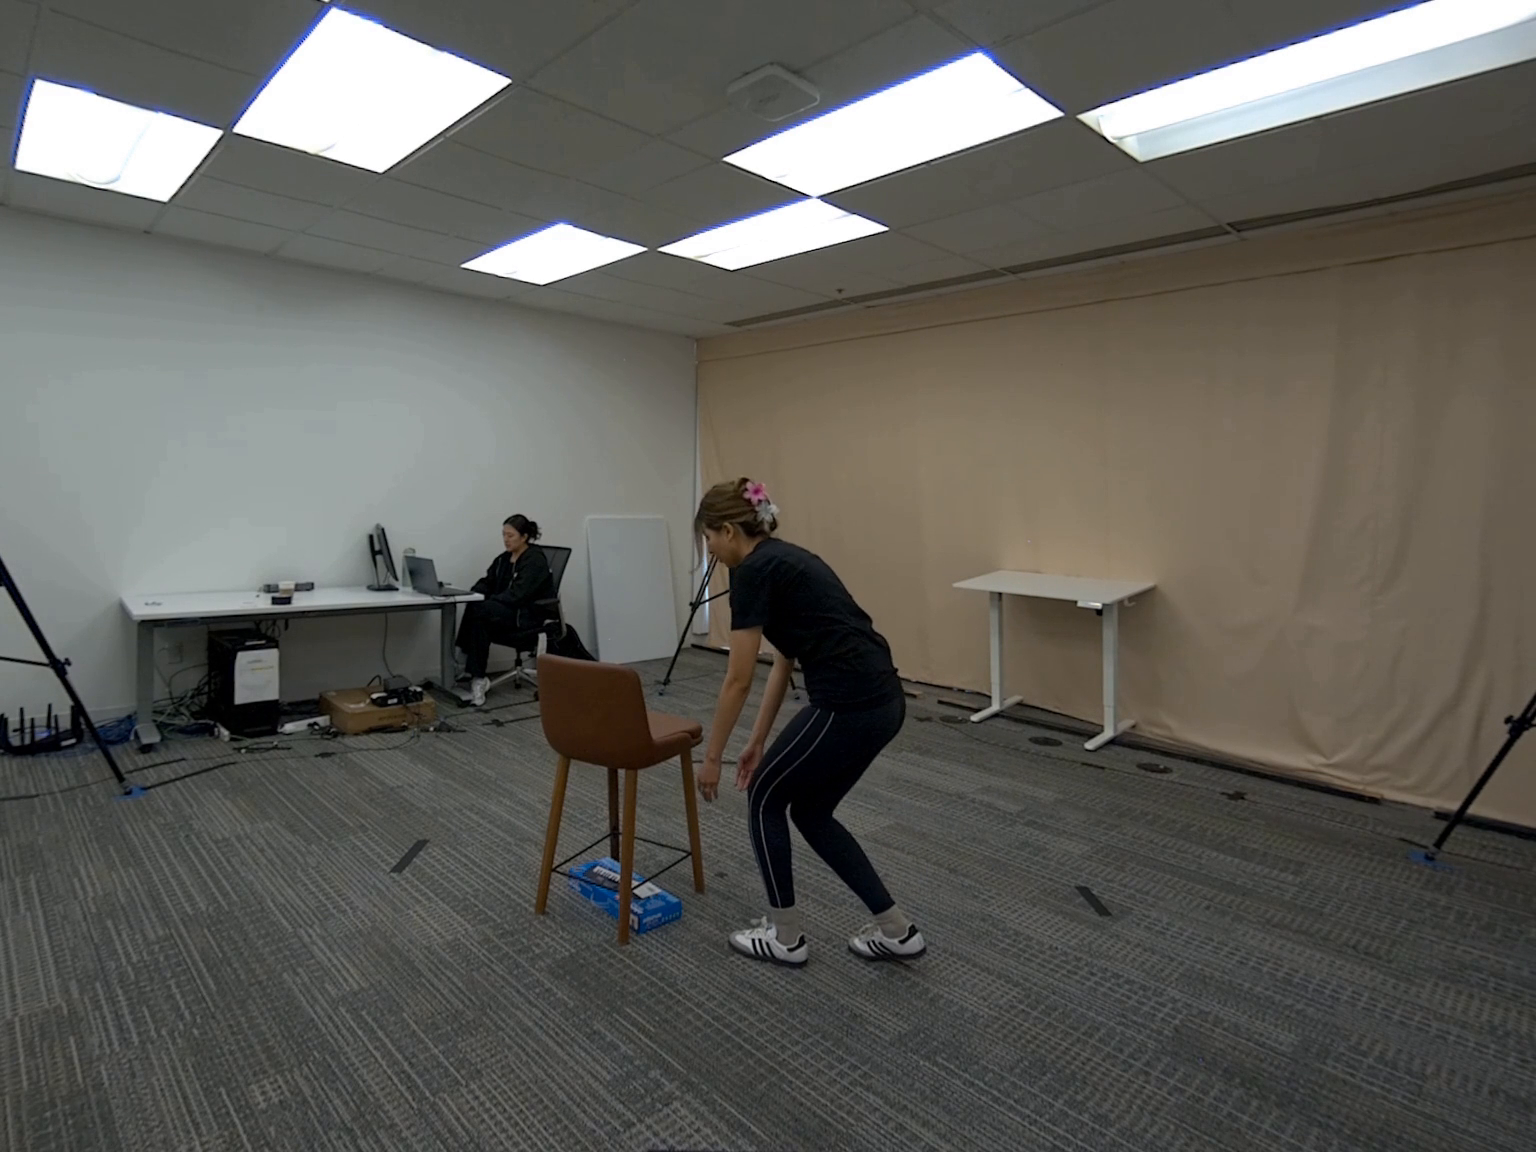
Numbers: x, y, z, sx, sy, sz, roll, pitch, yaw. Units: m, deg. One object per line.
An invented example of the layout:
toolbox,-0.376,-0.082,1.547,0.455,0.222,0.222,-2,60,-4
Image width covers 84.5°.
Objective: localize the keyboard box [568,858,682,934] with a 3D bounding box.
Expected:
keyboard box,-0.504,1.091,2.882,0.172,0.059,0.448,-4,7,-43
